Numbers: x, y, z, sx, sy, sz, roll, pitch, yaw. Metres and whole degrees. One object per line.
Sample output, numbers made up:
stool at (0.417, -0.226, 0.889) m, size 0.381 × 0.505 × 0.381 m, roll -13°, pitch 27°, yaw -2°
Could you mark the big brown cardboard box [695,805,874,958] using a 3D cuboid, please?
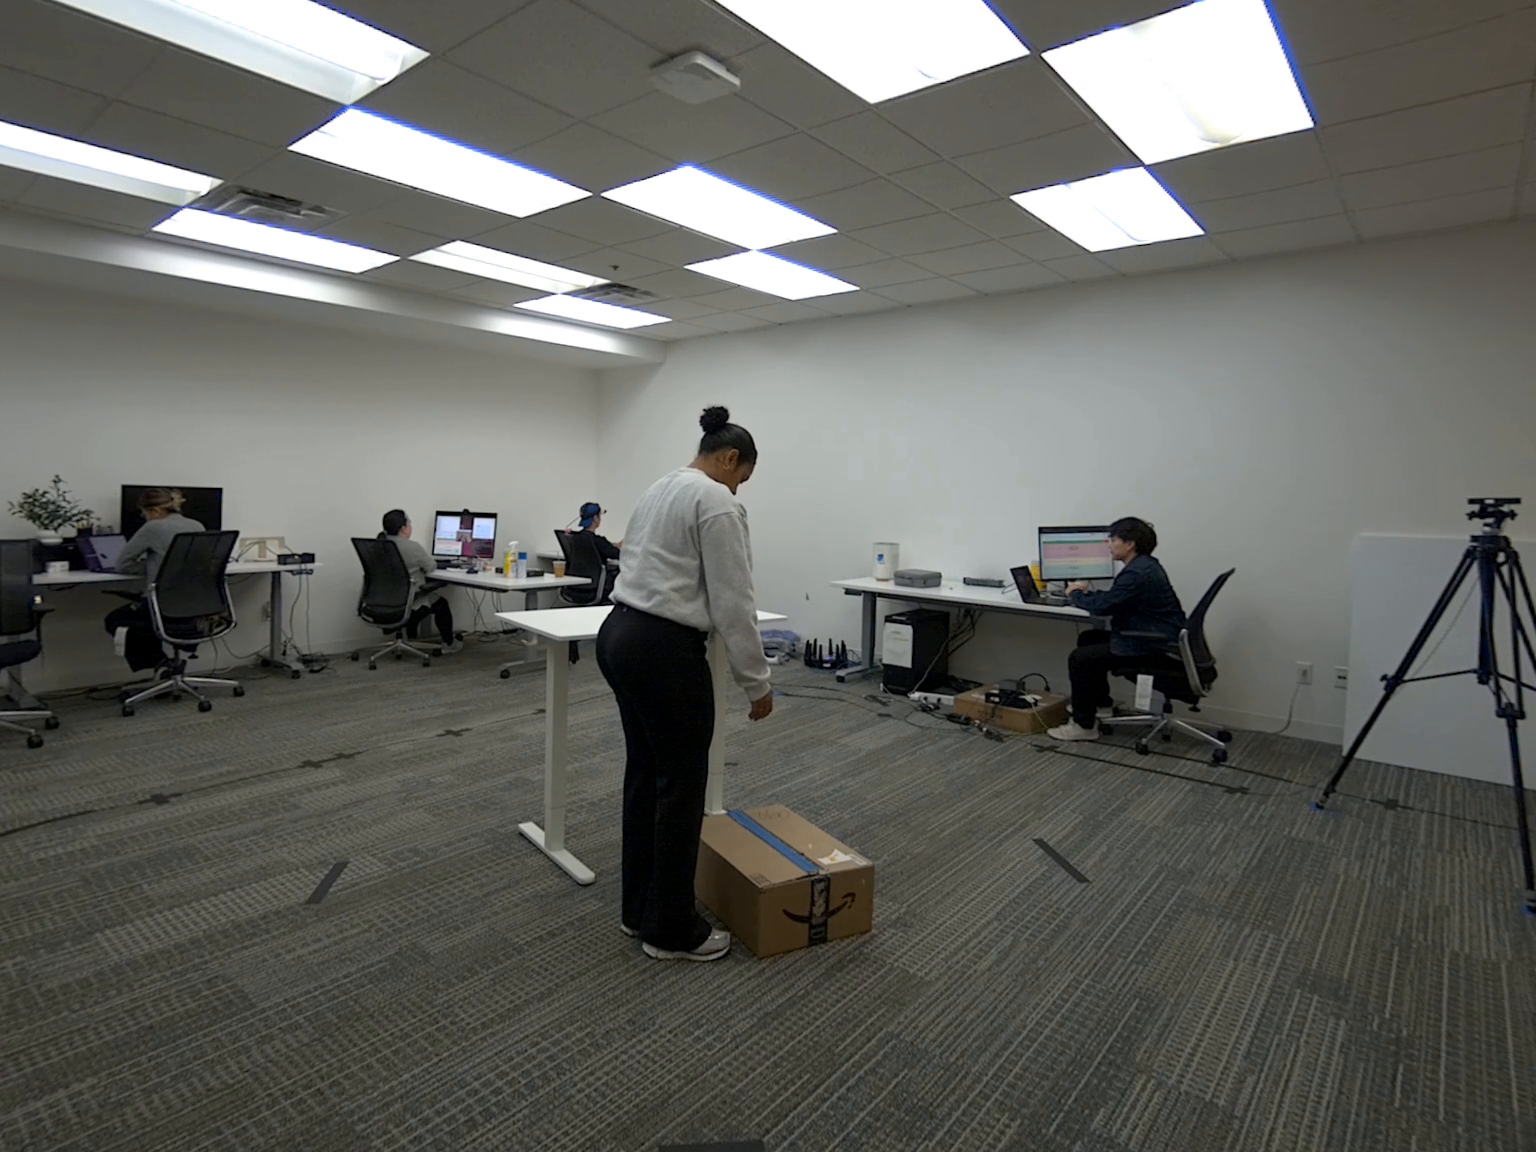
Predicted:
big brown cardboard box at (0.006, 0.986, 2.838) m, size 0.406 × 0.232 × 0.607 m, roll -1°, pitch 5°, yaw -30°
